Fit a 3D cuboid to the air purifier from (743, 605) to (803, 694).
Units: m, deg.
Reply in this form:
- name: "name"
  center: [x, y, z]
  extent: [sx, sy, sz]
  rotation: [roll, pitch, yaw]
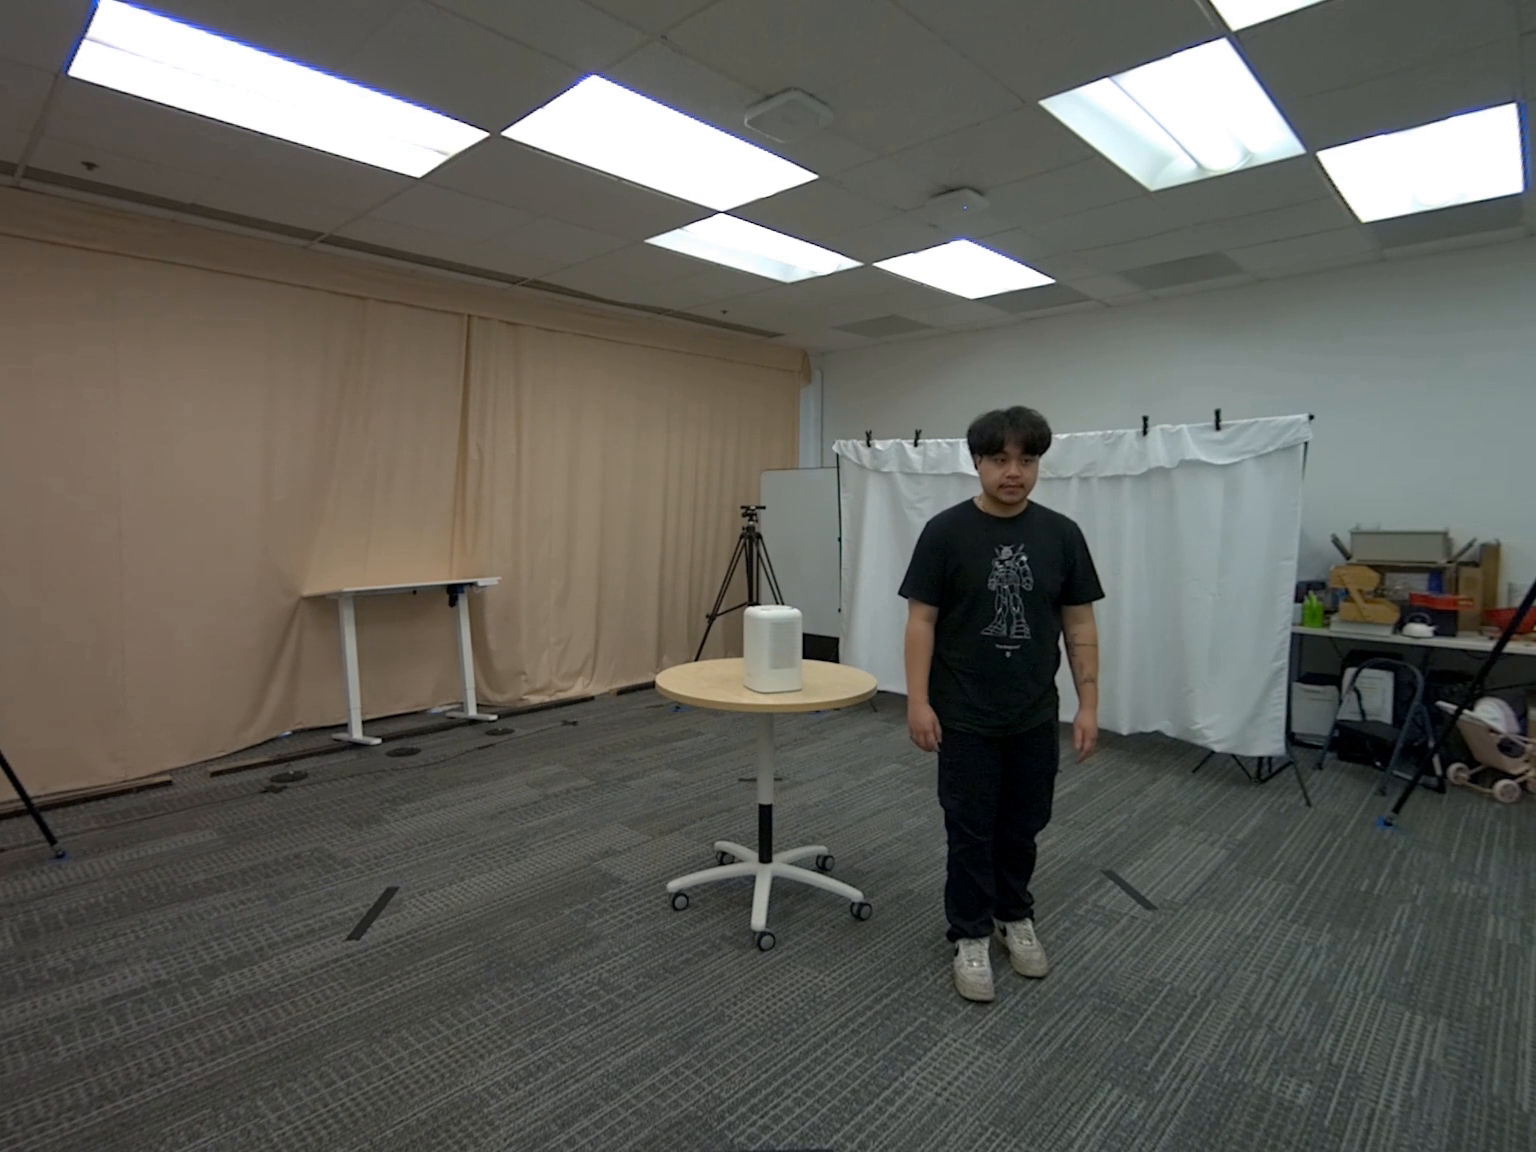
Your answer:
- name: "air purifier"
  center: [0.019, 0.237, 2.766]
  extent: [0.168, 0.265, 0.175]
  rotation: [-1, 4, -24]
